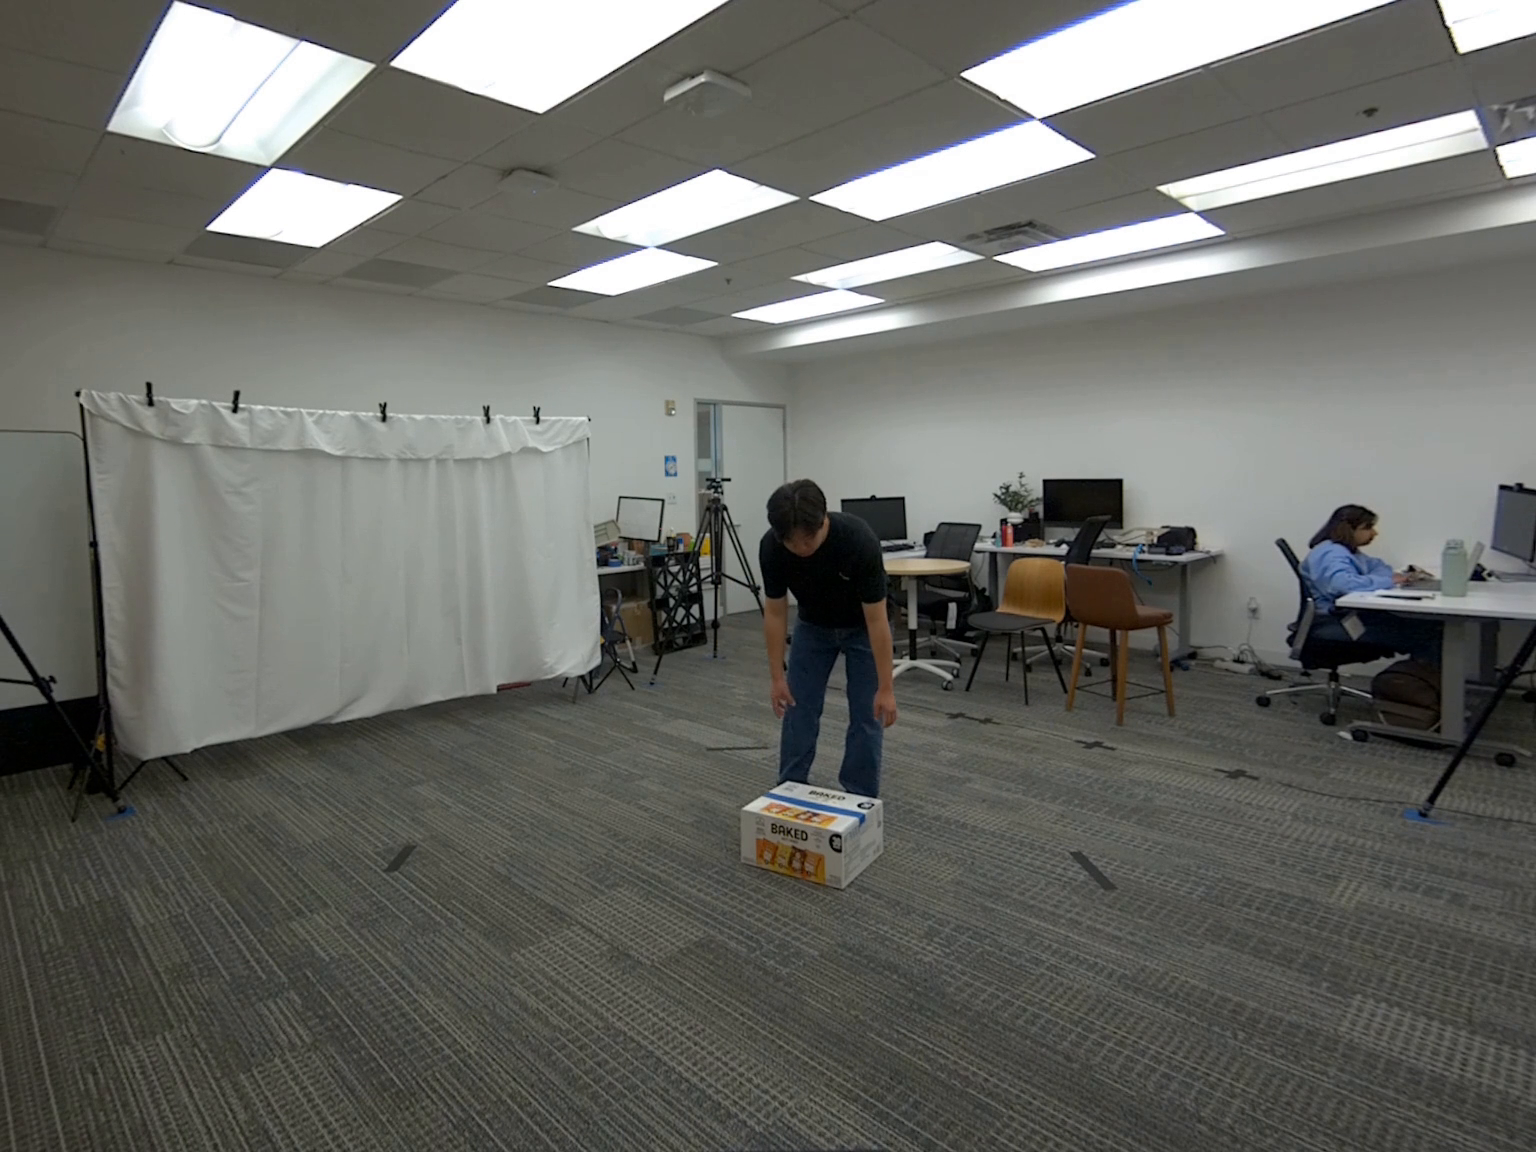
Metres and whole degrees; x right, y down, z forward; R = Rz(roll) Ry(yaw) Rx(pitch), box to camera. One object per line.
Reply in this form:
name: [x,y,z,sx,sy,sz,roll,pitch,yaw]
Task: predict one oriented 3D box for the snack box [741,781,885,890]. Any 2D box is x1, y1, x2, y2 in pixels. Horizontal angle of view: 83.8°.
snack box: [0.167,0.935,3.123,0.416,0.205,0.332,2,7,32]
